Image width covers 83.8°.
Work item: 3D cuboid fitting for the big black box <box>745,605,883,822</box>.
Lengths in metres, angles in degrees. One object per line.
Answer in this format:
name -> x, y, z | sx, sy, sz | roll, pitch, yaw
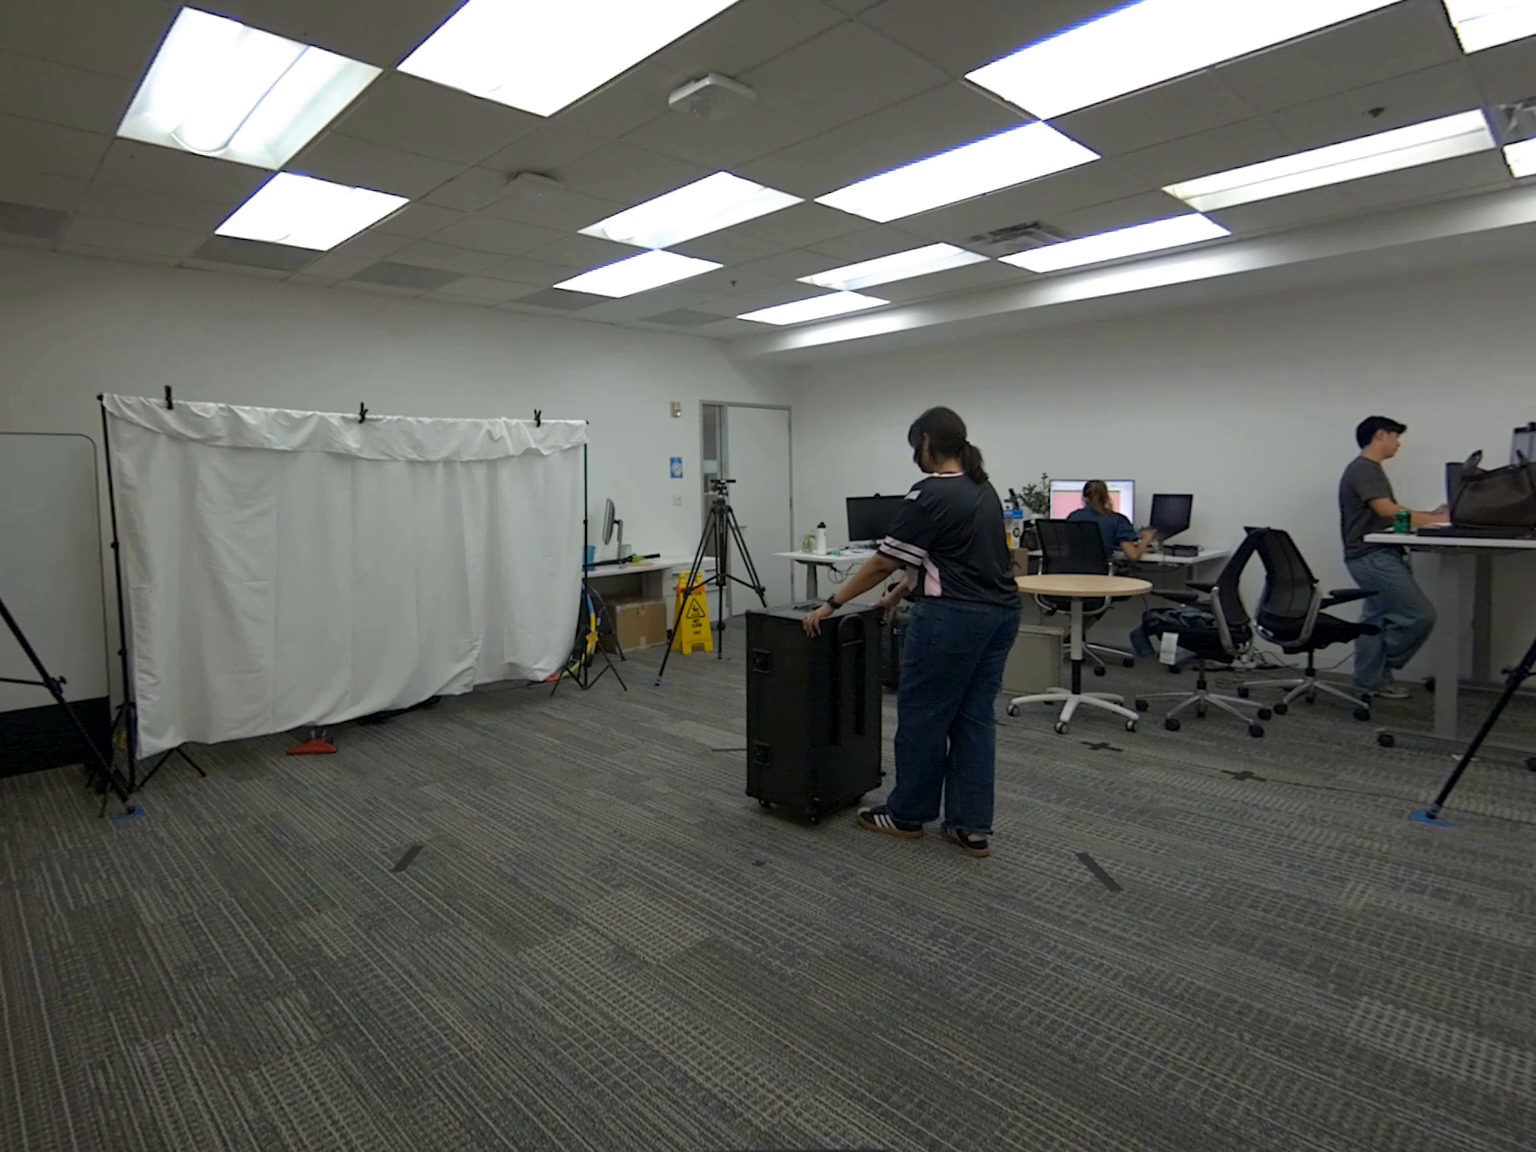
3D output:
big black box -> 0.207, 0.565, 3.619 | 0.397, 0.865, 0.509 | 5, 7, 42
